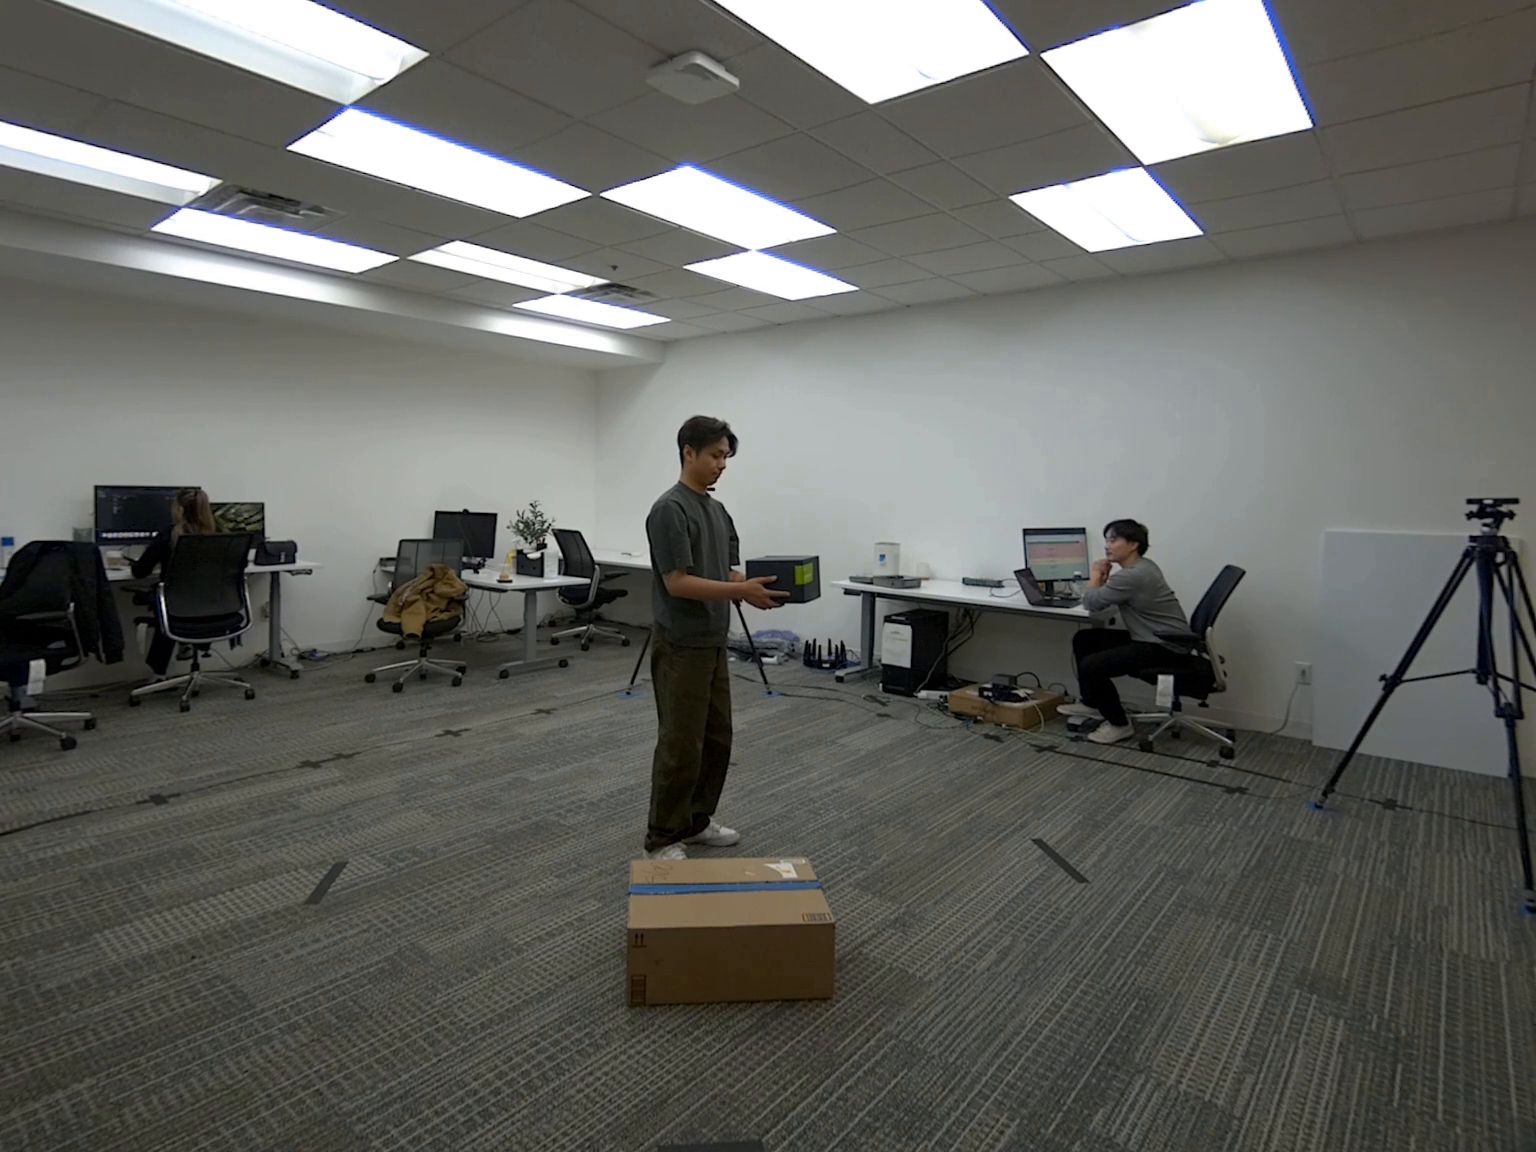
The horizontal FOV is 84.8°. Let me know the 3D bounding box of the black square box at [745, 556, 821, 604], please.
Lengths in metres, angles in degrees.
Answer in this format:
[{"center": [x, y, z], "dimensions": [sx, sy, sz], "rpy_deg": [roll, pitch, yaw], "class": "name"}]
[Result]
[{"center": [0.050, 0.010, 3.099], "dimensions": [0.221, 0.156, 0.224], "rpy_deg": [-1, 3, 20], "class": "black square box"}]
